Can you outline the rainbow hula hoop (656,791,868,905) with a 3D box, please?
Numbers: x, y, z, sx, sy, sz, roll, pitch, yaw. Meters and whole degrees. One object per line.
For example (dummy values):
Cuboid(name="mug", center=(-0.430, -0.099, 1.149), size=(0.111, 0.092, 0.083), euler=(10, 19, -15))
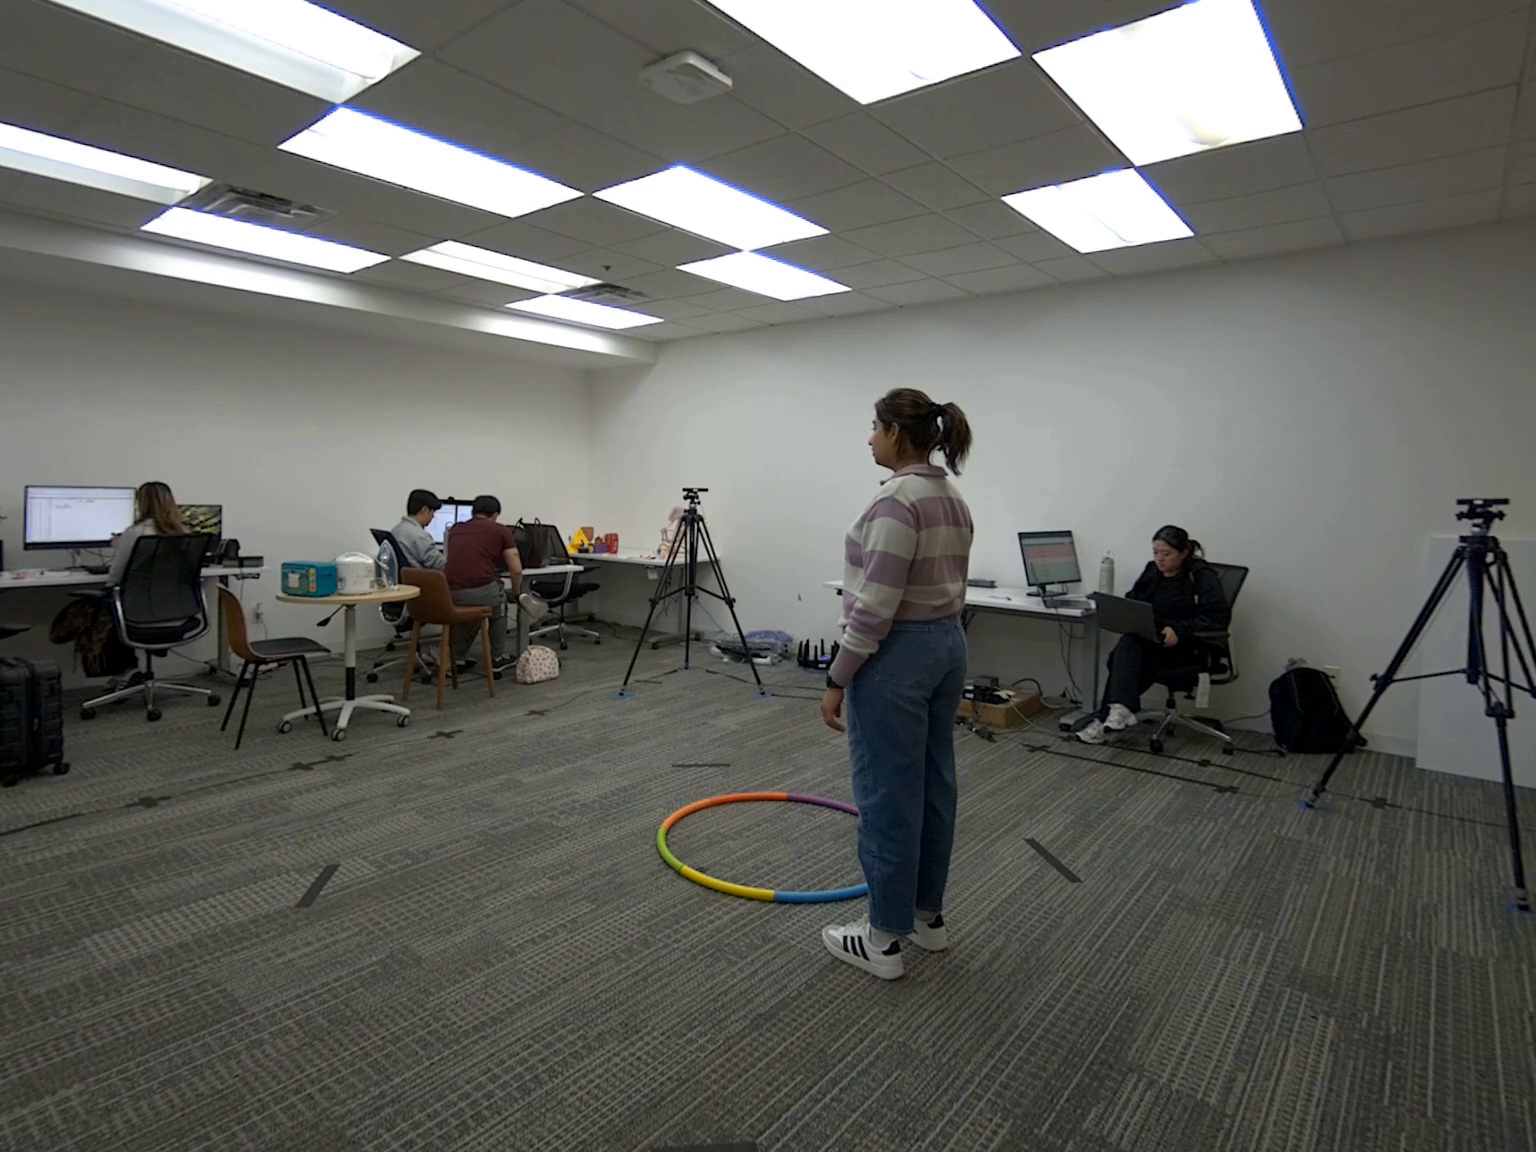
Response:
Cuboid(name="rainbow hula hoop", center=(0.041, 1.026, 3.347), size=(0.984, 0.051, 0.991), euler=(1, 6, -2))
